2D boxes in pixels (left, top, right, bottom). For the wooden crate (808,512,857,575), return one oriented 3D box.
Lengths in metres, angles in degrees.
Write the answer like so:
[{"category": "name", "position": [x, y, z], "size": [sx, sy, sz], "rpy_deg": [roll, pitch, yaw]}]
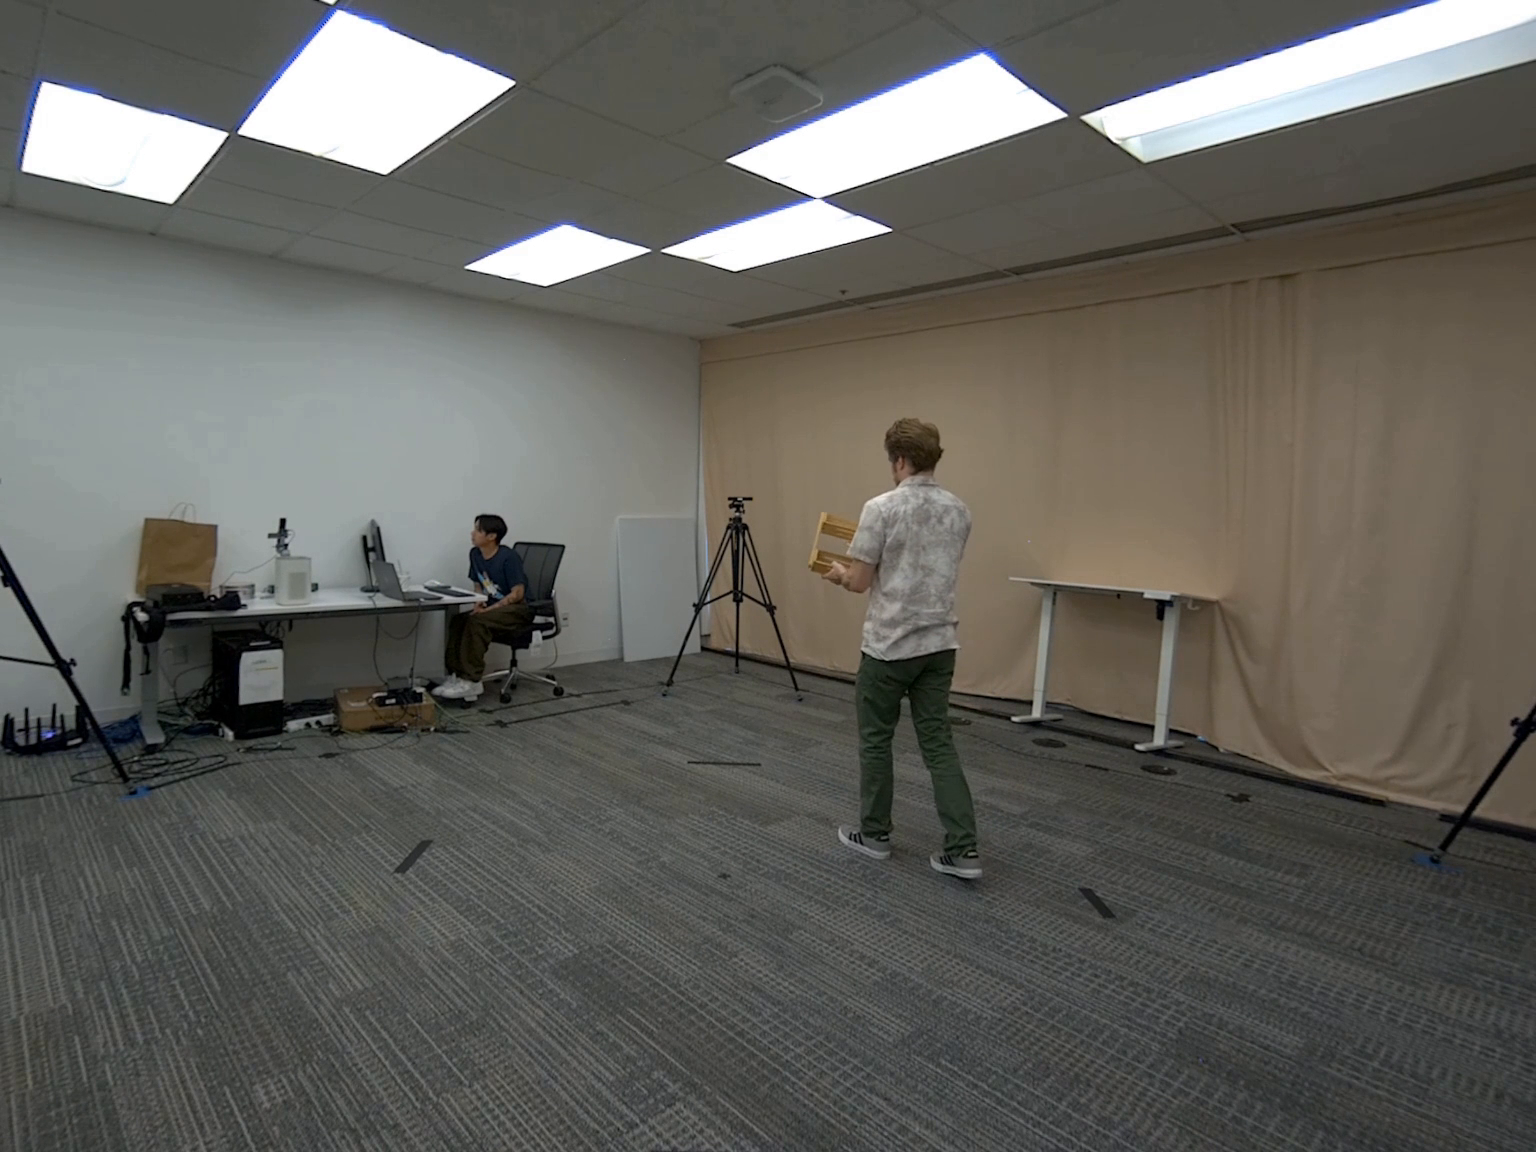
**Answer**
[{"category": "wooden crate", "position": [0.359, -0.119, 3.658], "size": [0.325, 0.273, 0.302], "rpy_deg": [16, 3, 1]}]
